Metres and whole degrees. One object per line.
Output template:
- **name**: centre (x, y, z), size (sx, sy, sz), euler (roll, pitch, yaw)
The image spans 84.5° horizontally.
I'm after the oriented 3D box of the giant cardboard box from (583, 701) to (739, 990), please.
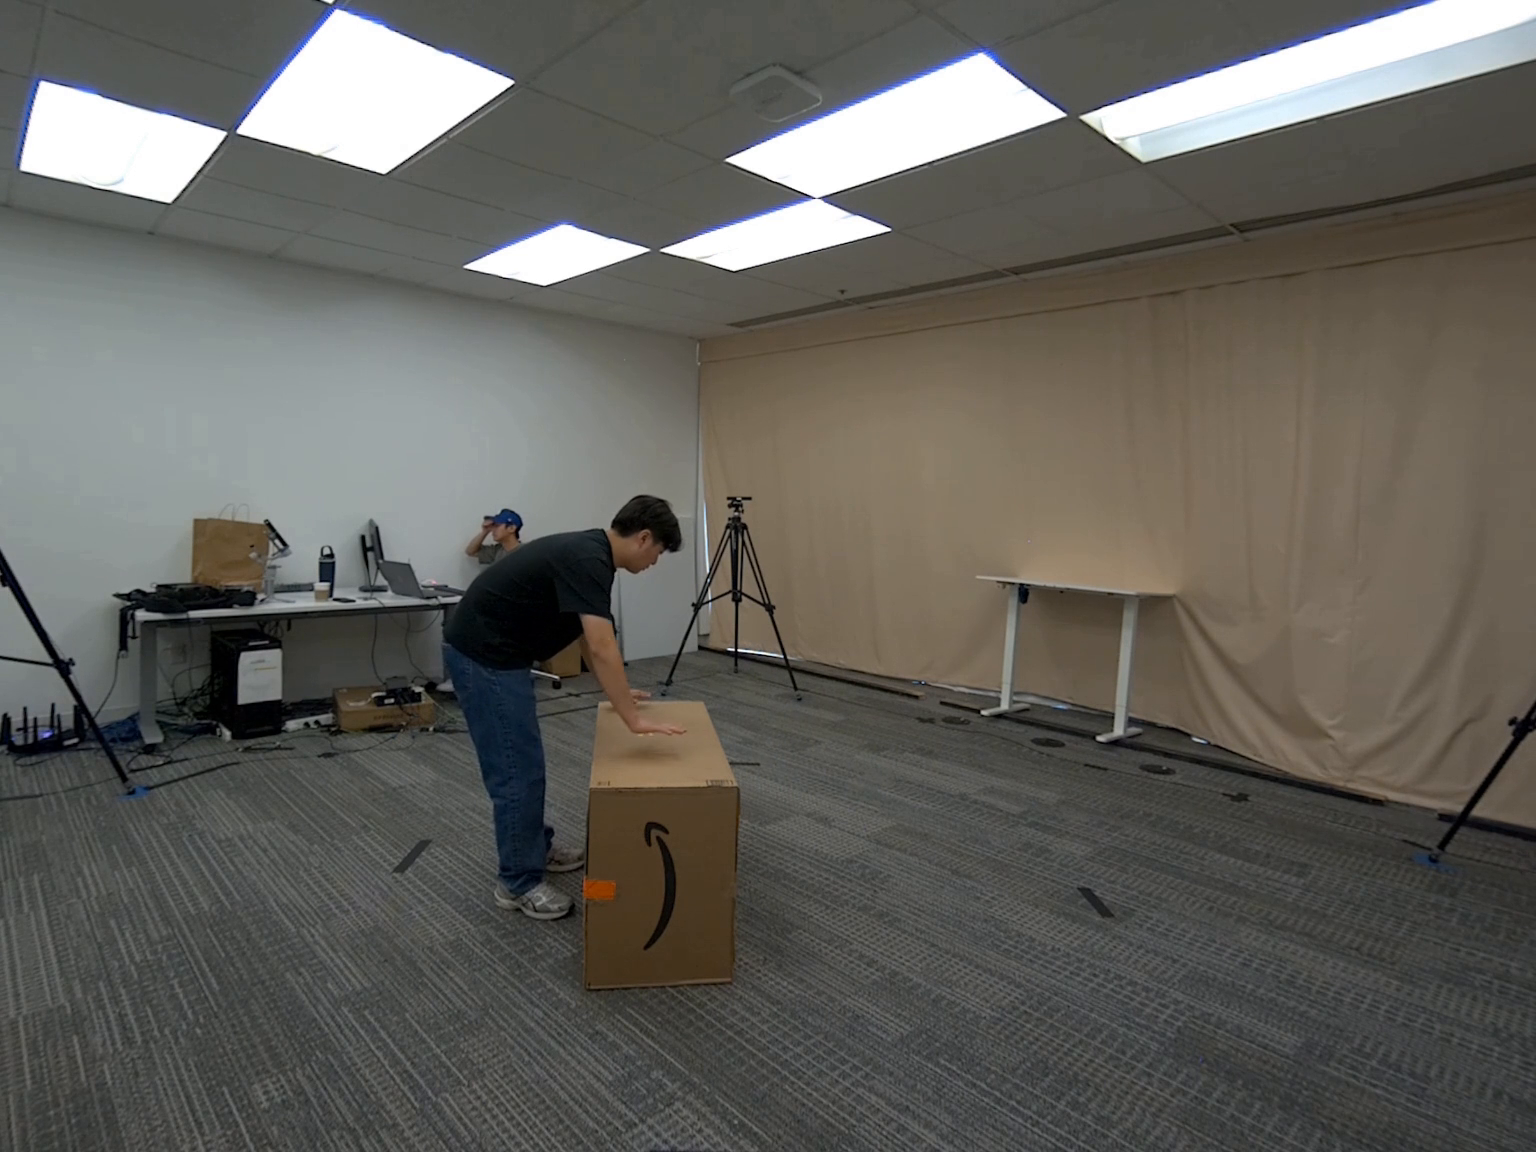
- **giant cardboard box**: centre (-0.391, 0.834, 2.877), size (0.443, 0.582, 1.037), euler (0, 4, -10)
